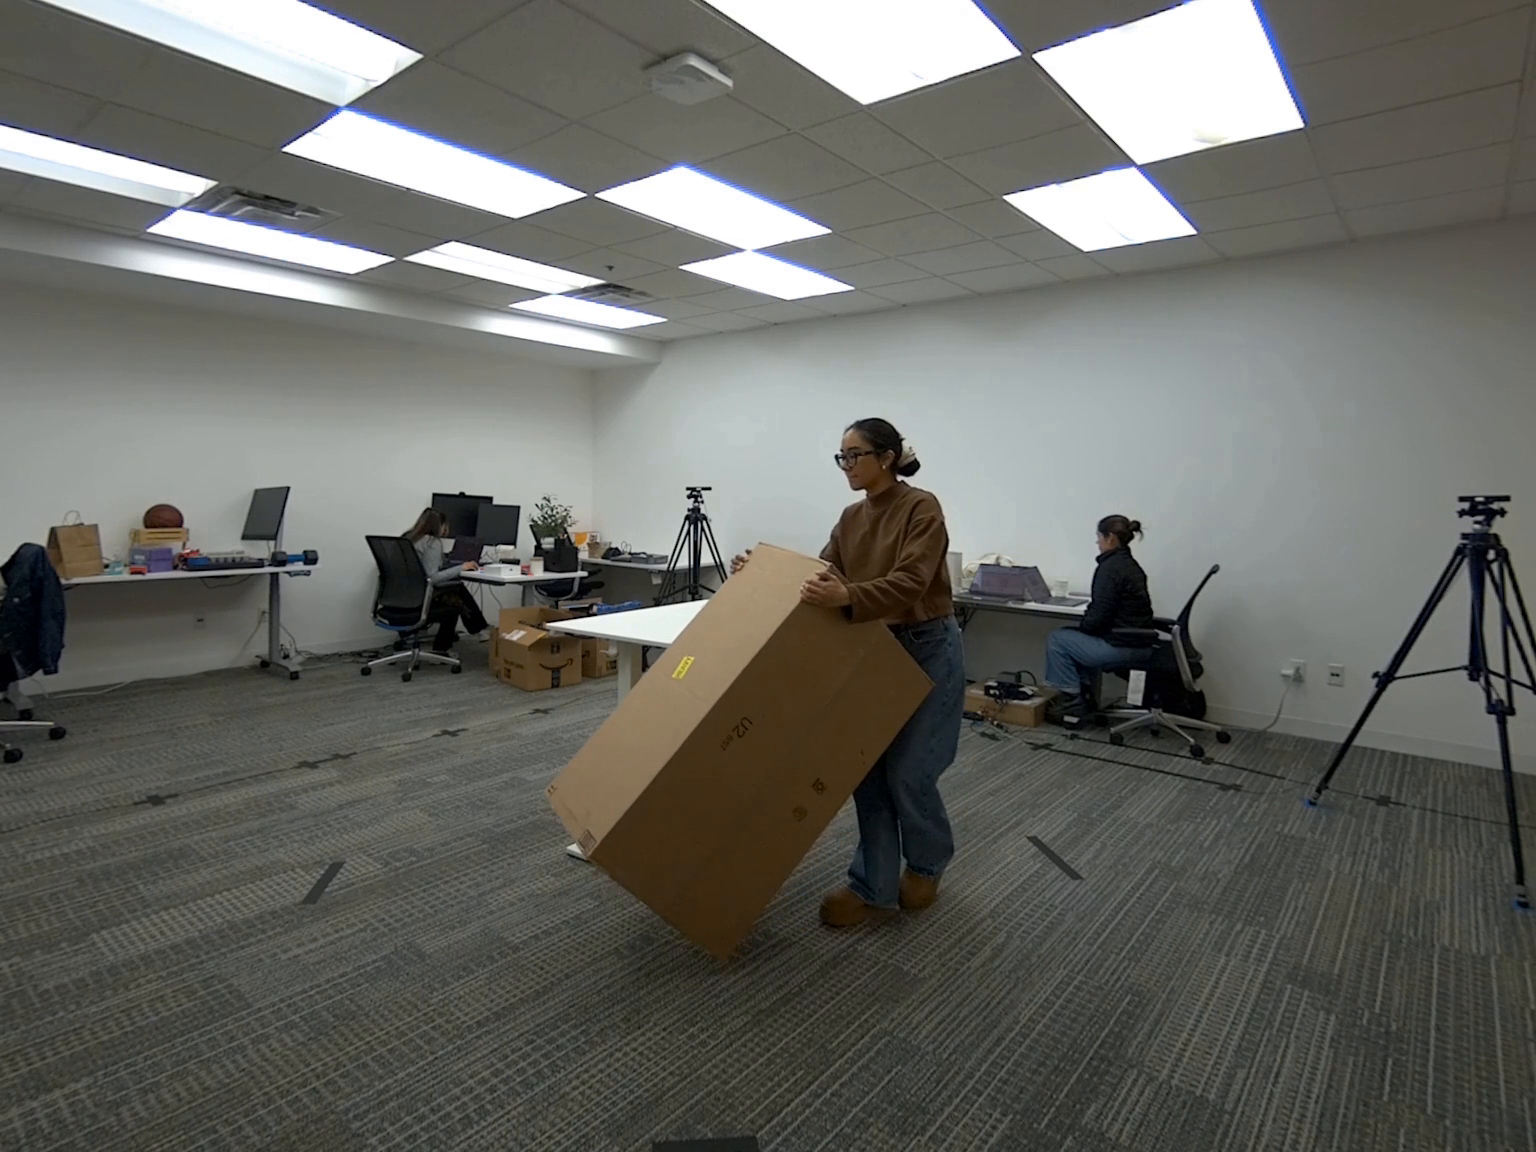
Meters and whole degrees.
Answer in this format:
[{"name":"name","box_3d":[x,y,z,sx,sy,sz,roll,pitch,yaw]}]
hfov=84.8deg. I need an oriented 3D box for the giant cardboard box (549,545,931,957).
[{"name":"giant cardboard box","box_3d":[-0.094,0.500,2.565,0.558,1.026,0.440,46,-13,-27]}]
